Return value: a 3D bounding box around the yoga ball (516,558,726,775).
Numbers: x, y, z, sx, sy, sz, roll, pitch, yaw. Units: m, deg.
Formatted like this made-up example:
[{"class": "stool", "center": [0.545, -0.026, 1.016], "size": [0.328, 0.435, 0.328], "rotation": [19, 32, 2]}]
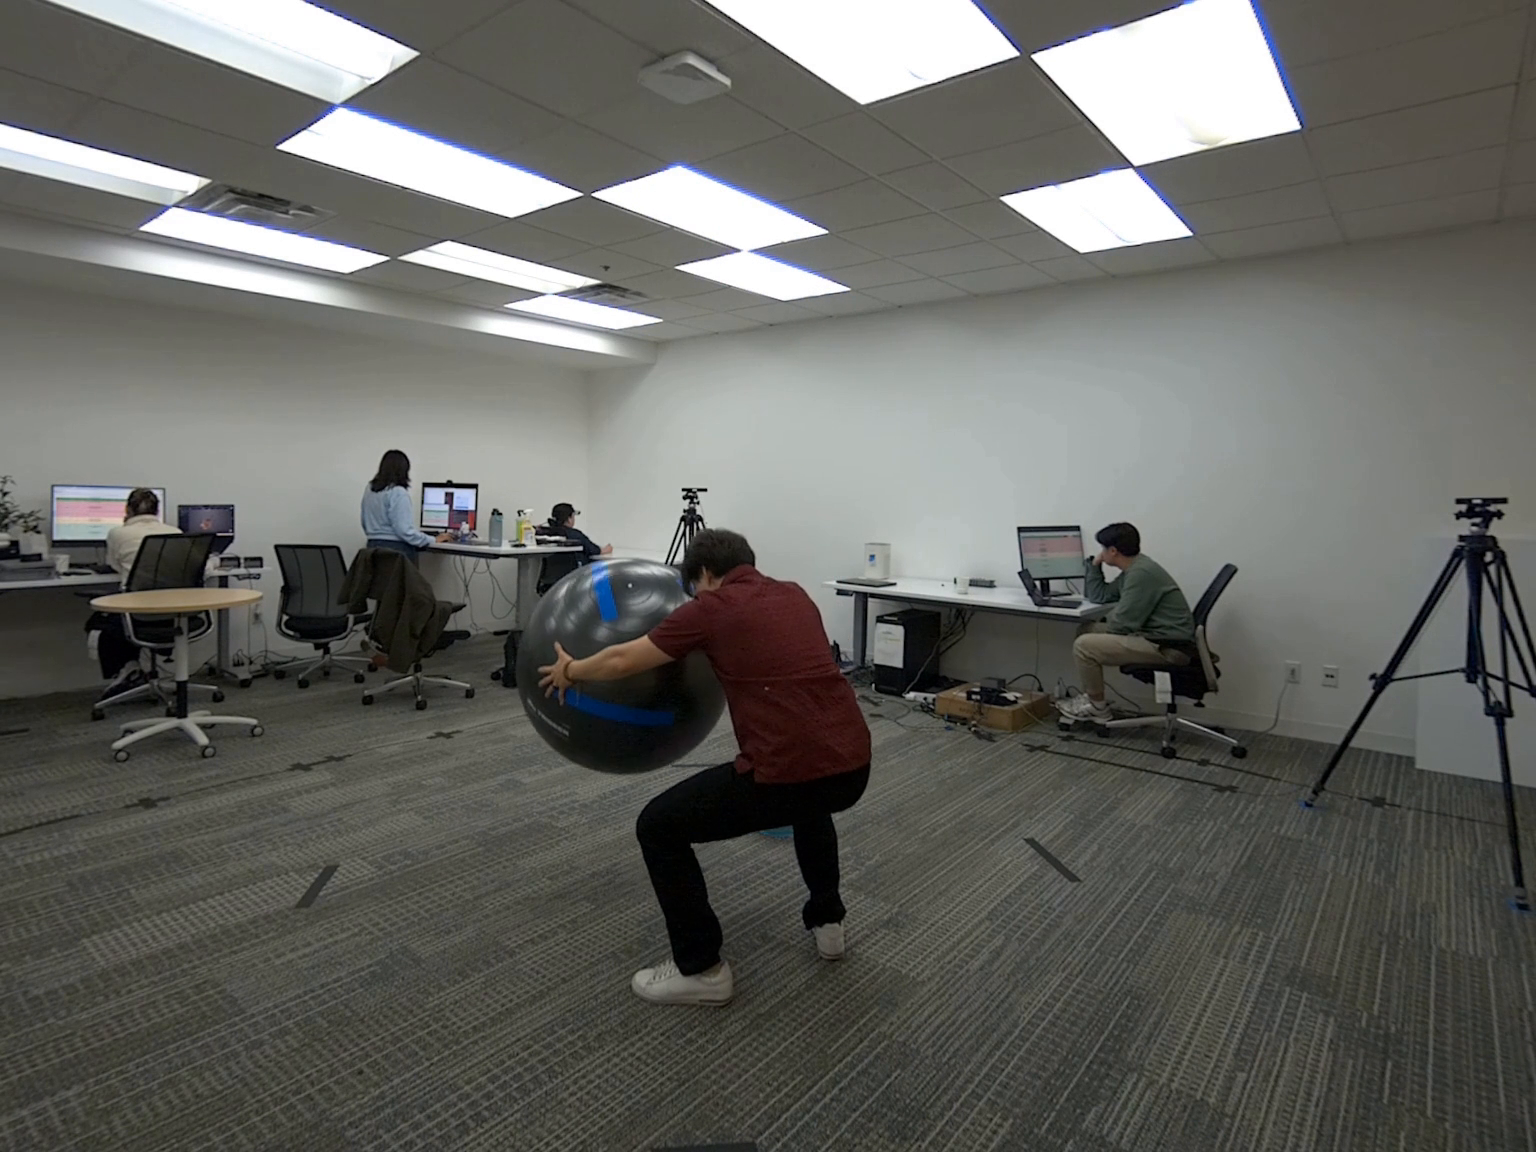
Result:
[{"class": "yoga ball", "center": [-0.512, 0.312, 3.009], "size": [0.757, 0.756, 0.762], "rotation": [1, 4, -2]}]
